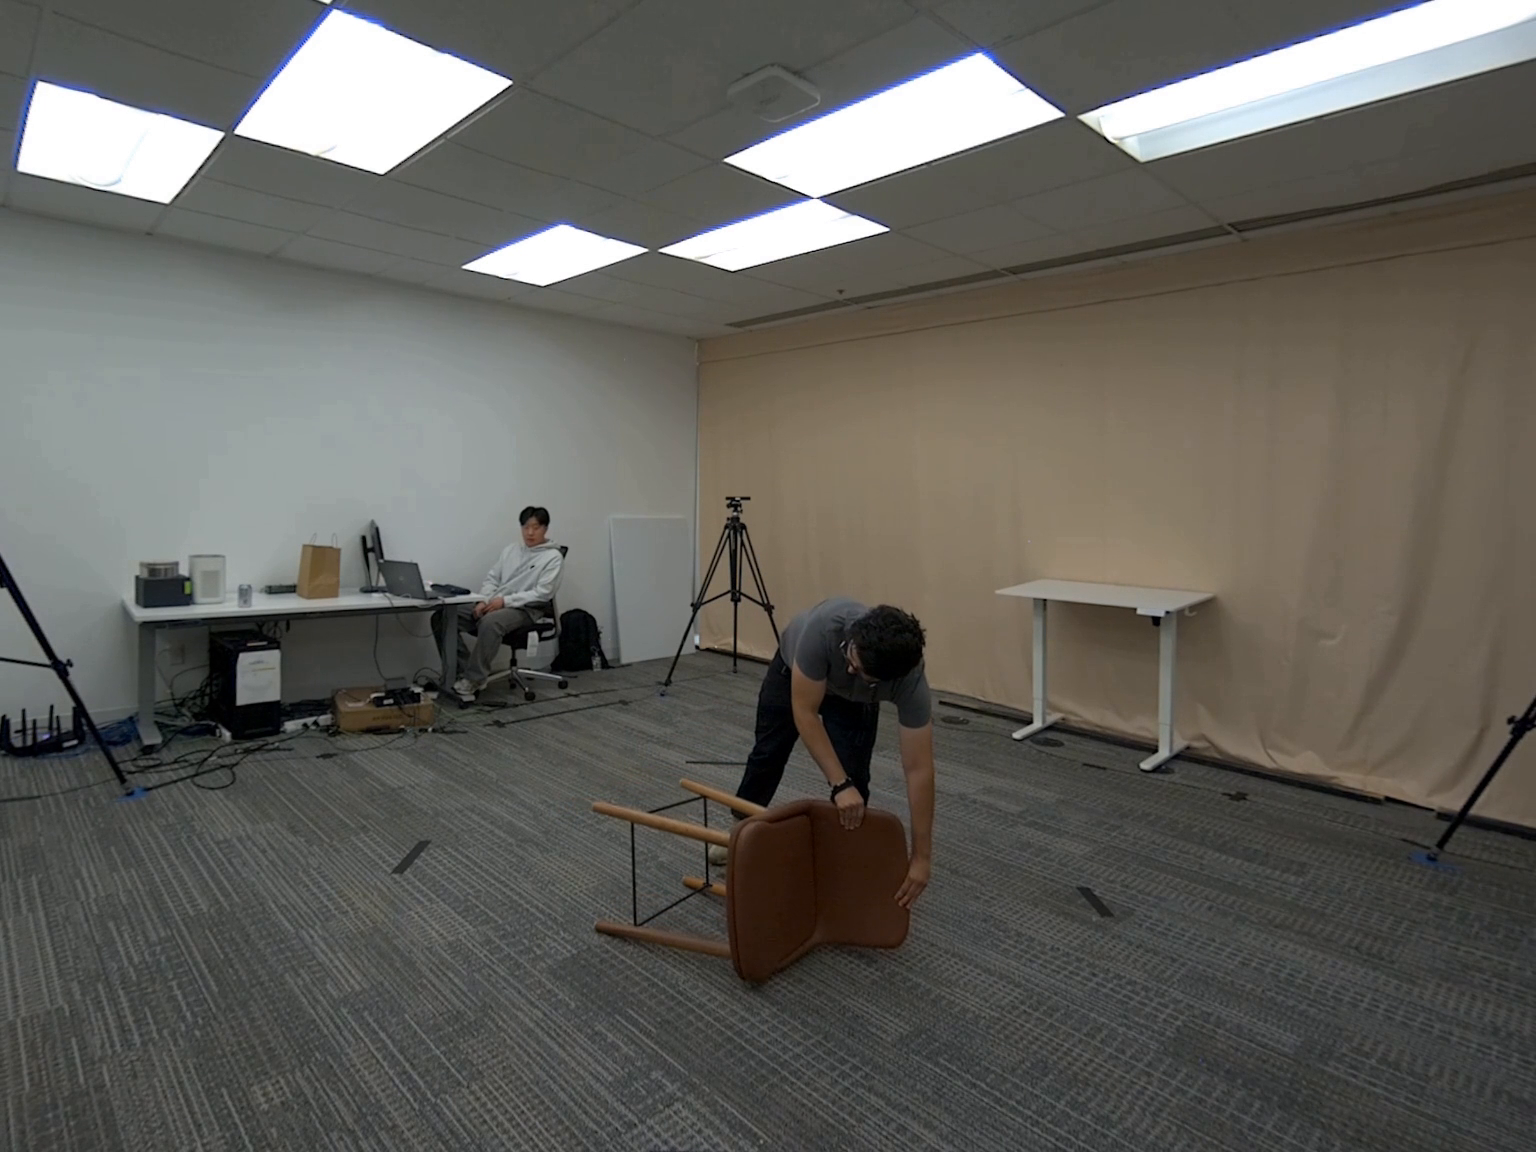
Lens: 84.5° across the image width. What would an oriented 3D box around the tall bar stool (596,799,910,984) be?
[{"bbox_3d":[-0.076,0.929,2.597,0.909,0.457,0.457,-1,0,36],"label":"tall bar stool"}]
